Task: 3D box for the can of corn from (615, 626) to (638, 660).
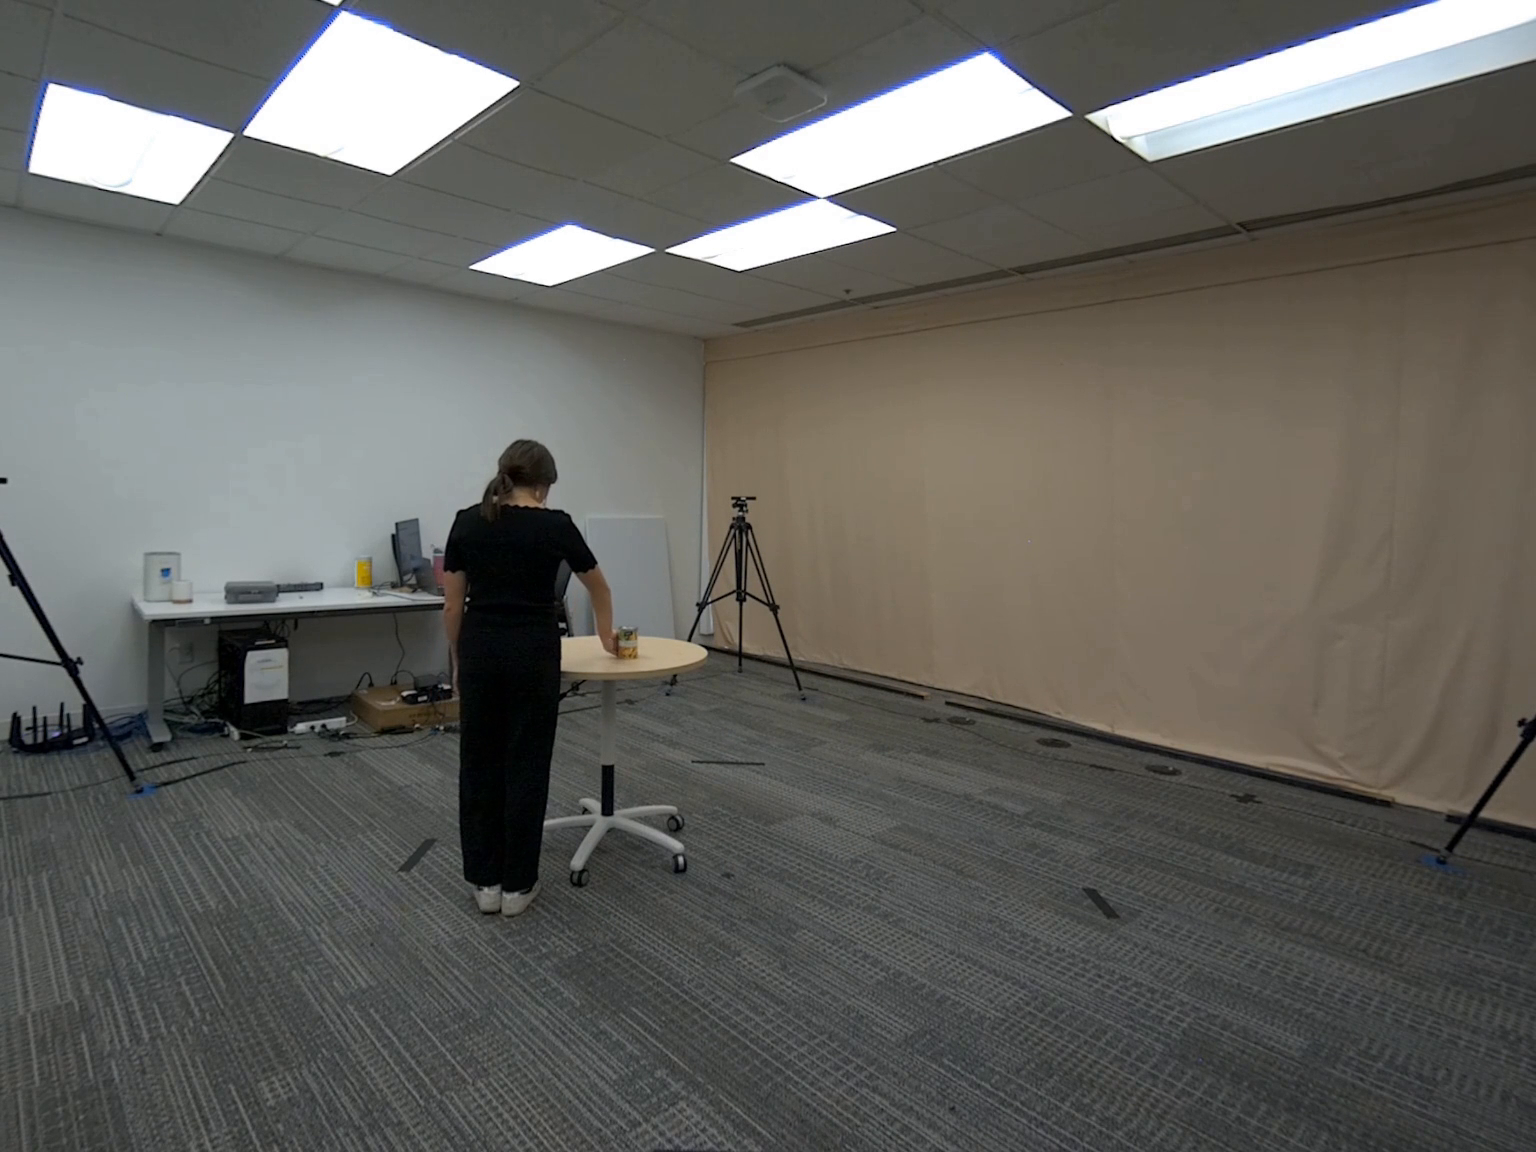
[{"bbox_3d":[-0.538,0.253,3.164,0.074,0.111,0.074,-2,2,-1],"label":"can of corn"}]
